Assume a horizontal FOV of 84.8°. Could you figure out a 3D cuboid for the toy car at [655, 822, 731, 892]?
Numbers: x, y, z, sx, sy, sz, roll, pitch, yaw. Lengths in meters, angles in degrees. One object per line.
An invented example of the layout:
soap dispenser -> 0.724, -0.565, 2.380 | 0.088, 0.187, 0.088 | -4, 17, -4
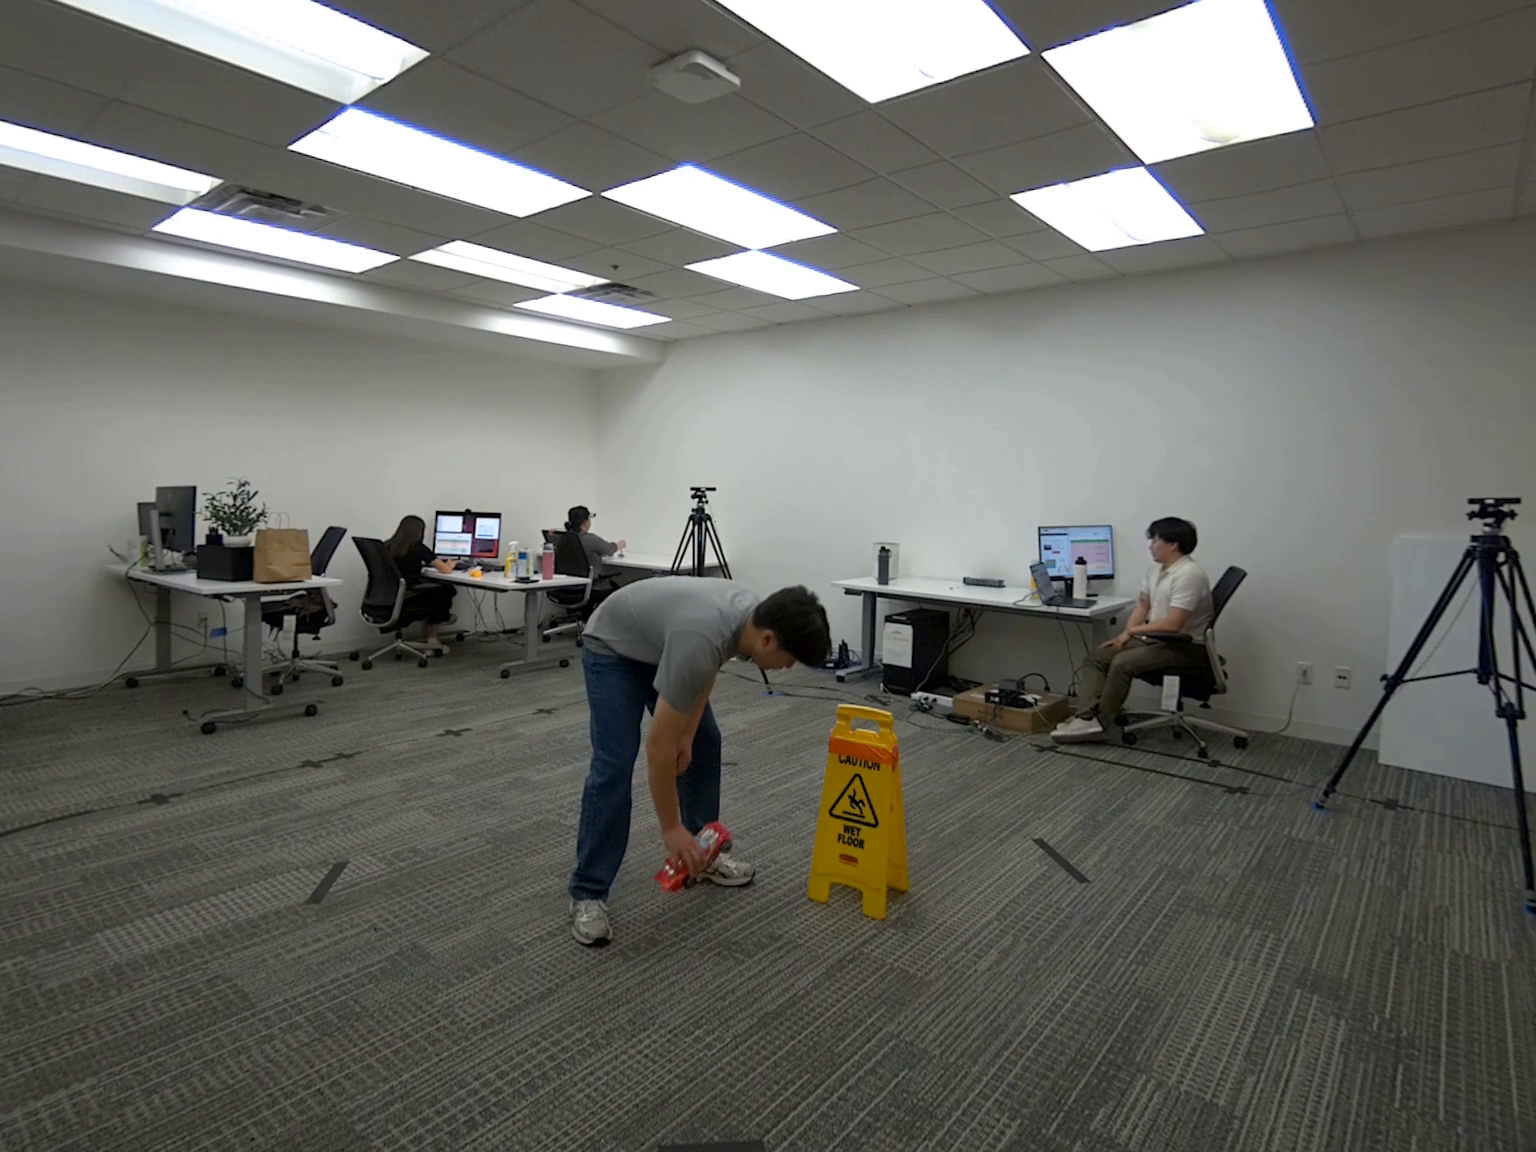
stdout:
toy car -> -0.237, 0.855, 2.556 | 0.252, 0.081, 0.135 | -31, 24, -23
